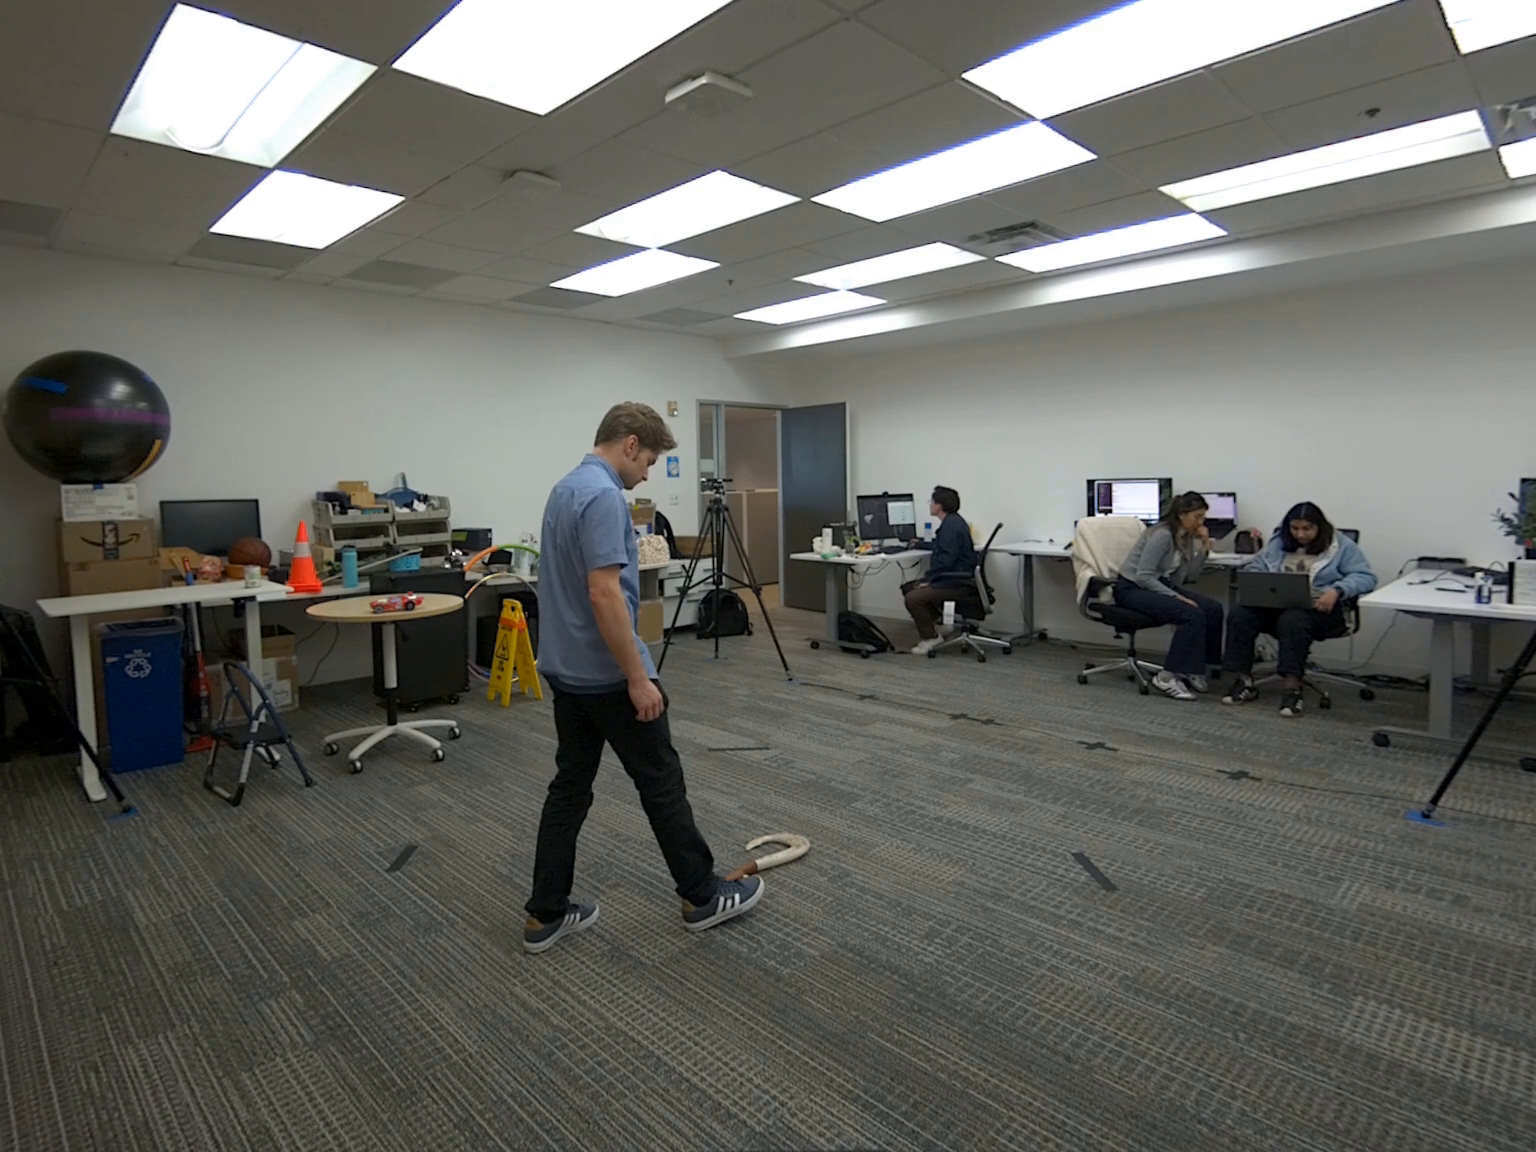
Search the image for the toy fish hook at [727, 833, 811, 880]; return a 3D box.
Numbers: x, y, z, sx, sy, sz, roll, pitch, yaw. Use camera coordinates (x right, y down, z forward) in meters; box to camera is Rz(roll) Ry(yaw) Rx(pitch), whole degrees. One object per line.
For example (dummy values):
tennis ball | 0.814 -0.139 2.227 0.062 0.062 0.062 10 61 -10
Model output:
toy fish hook | -0.050 1.028 3.098 0.230 0.048 0.493 -6 0 41
